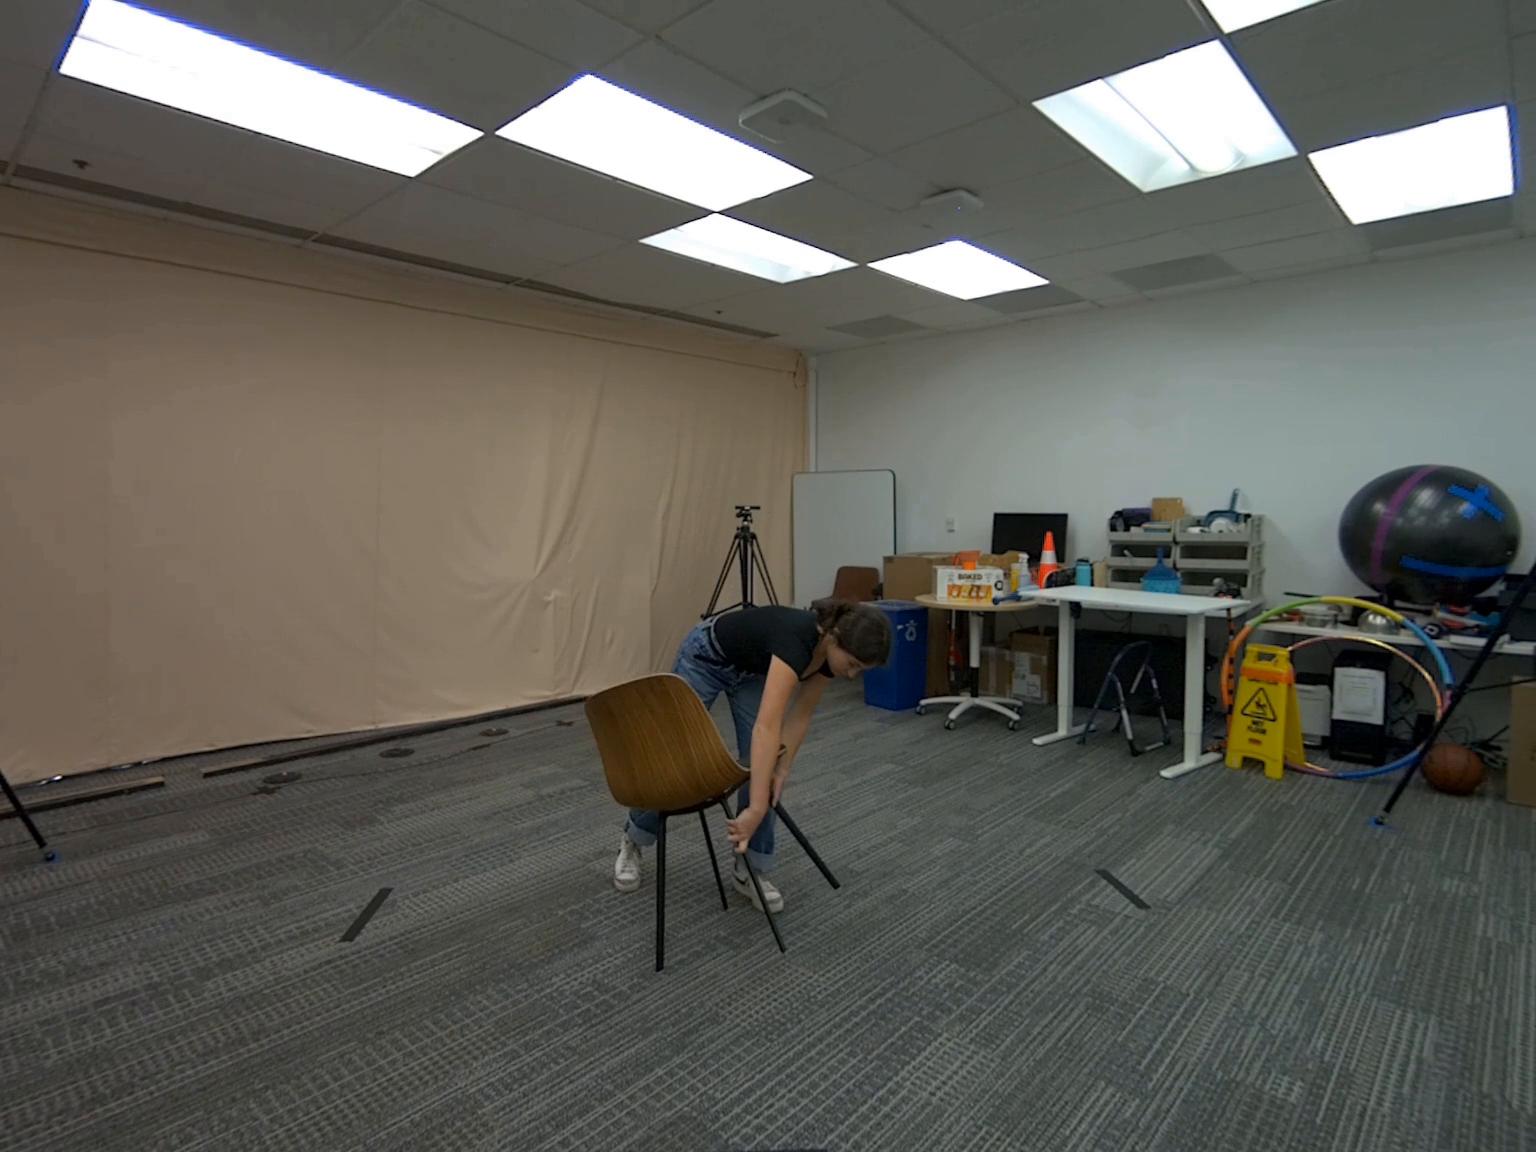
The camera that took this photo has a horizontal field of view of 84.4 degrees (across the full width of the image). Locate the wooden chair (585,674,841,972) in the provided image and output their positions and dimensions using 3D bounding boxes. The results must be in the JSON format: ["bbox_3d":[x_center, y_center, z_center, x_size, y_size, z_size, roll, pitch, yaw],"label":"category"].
[{"bbox_3d":[-0.190,0.696,2.673,0.486,0.881,0.512,-23,-4,26],"label":"wooden chair"}]
